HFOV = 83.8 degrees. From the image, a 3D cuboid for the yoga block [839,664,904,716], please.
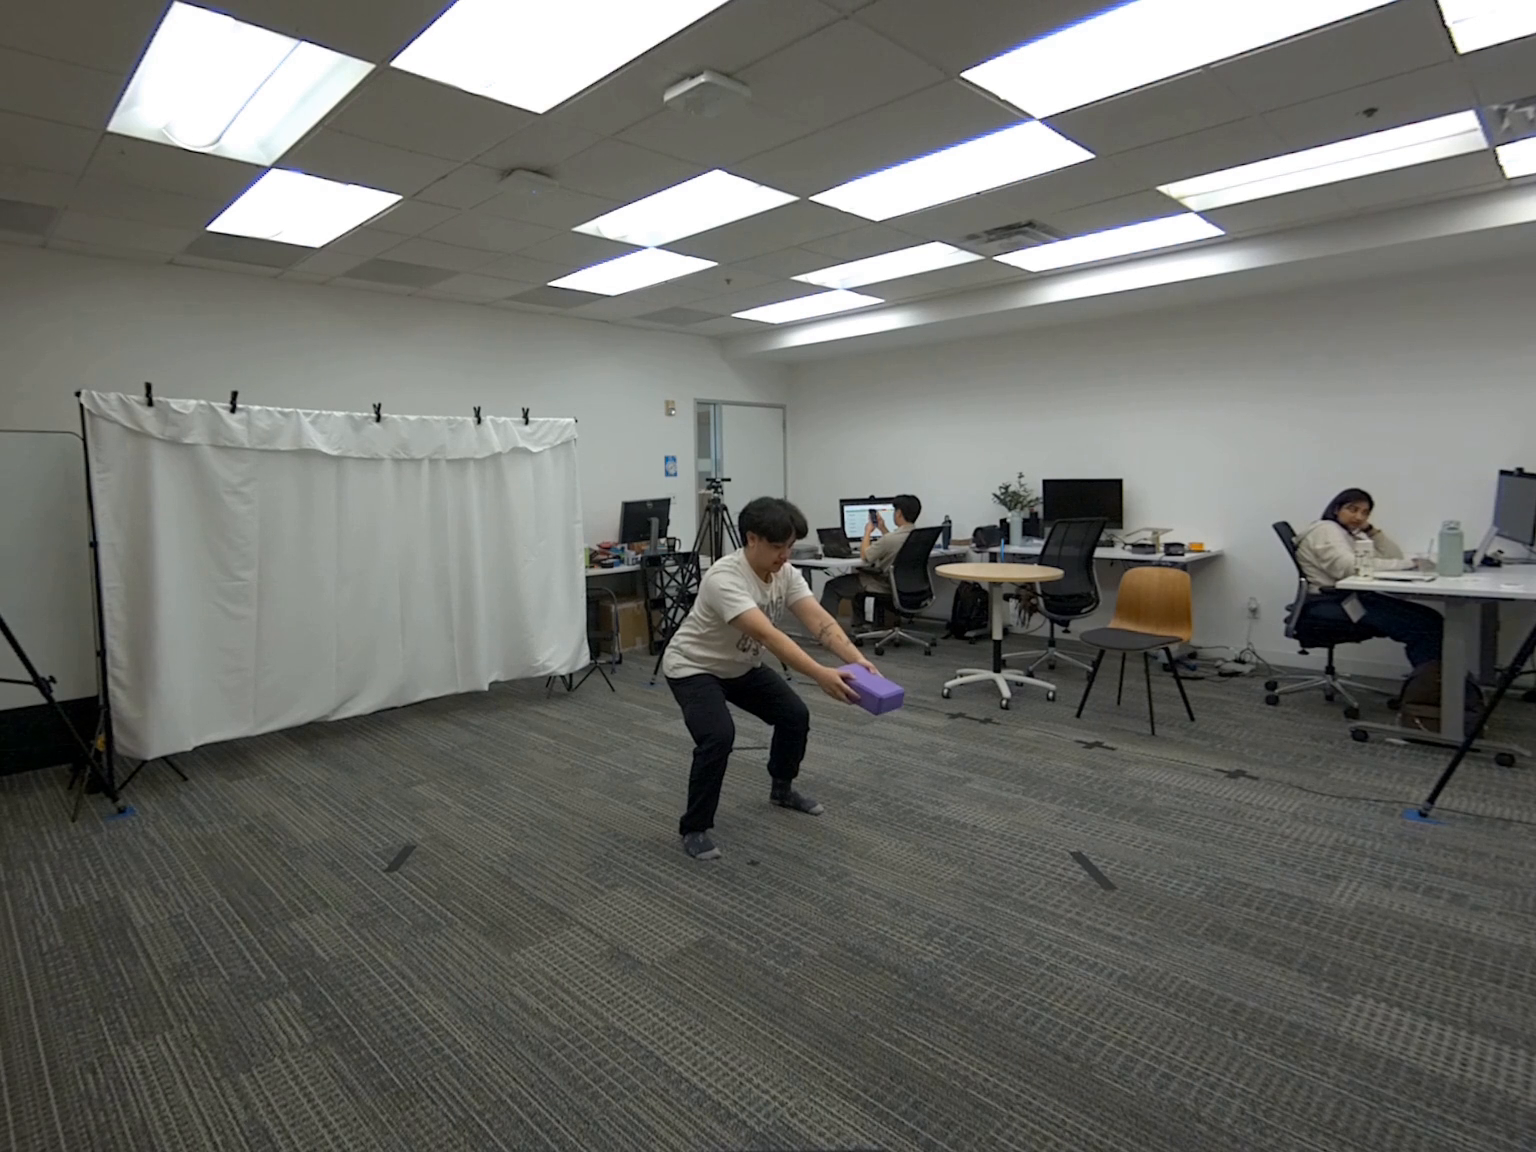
[{"bbox_3d":[0.338,0.400,2.953,0.238,0.075,0.145,22,19,38],"label":"yoga block"}]
